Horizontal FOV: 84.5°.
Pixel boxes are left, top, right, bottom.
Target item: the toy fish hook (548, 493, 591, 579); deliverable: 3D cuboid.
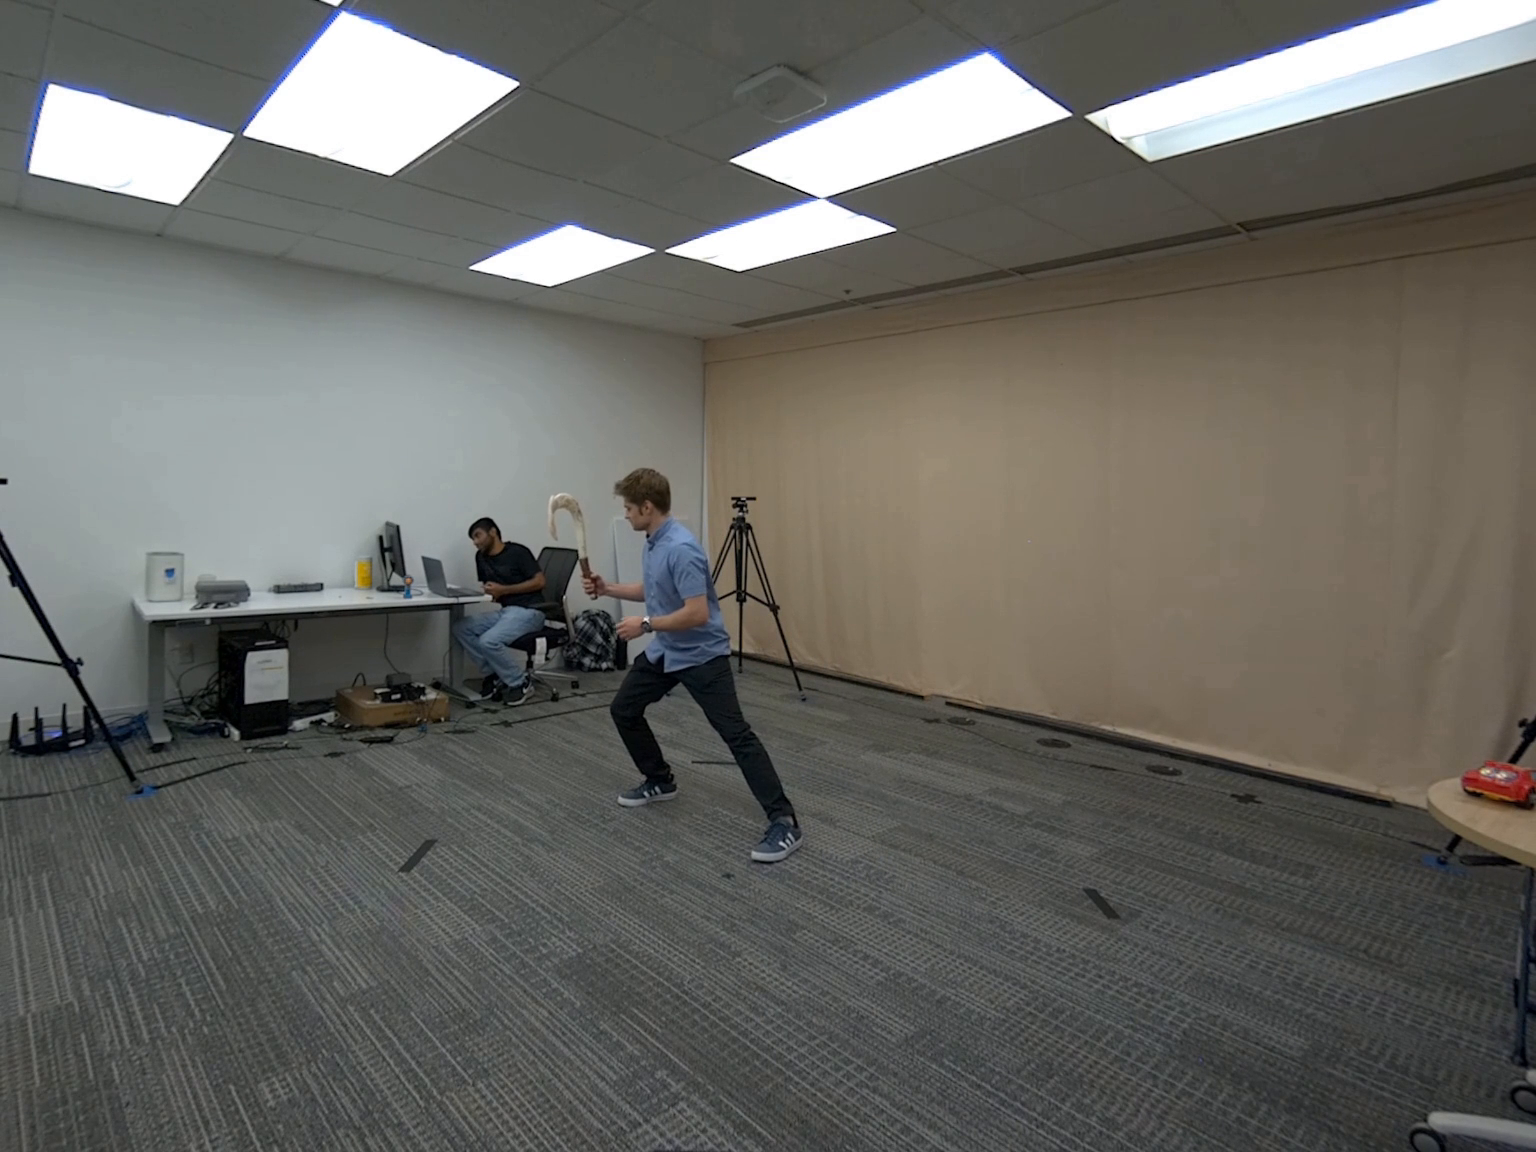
[{"bbox_3d":[-0.878,-0.123,3.787,0.049,0.503,0.222,-10,8,34],"label":"toy fish hook"}]
